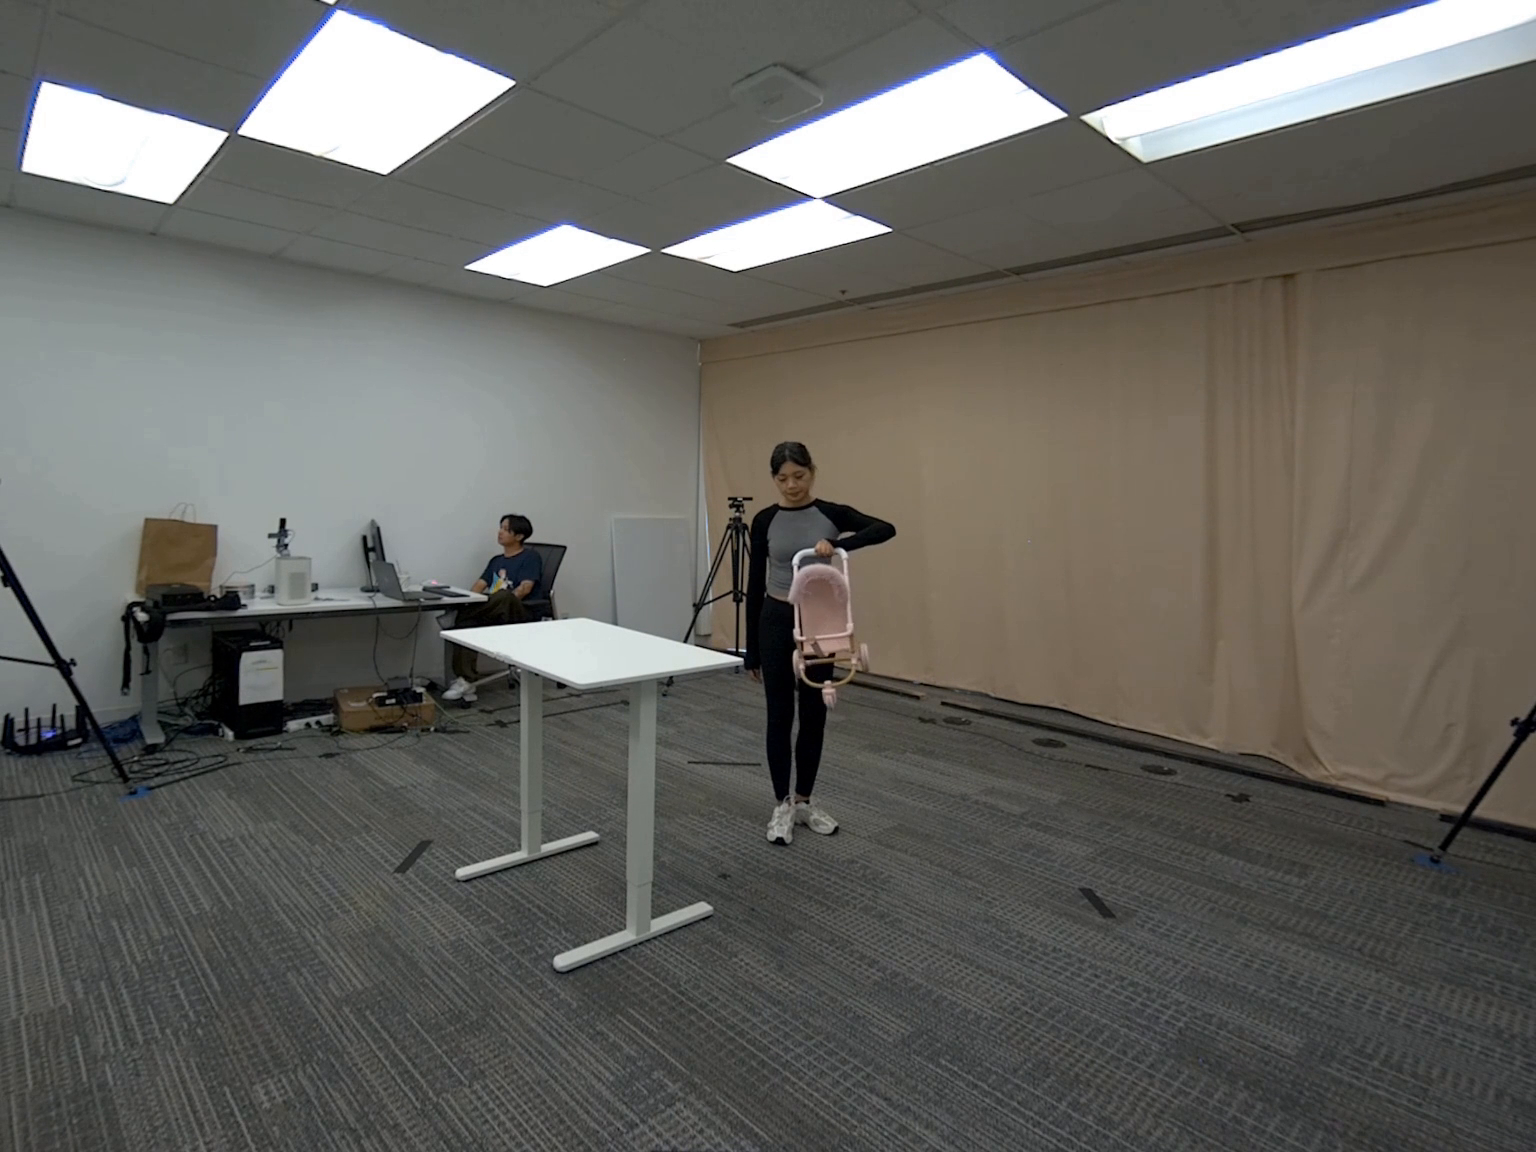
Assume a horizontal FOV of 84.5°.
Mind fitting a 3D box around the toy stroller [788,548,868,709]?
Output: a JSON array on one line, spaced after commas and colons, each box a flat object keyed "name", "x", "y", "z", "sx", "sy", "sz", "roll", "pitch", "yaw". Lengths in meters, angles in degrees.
[{"name": "toy stroller", "x": 0.195, "y": 0.186, "z": 3.038, "sx": 0.284, "sy": 0.532, "sz": 0.340, "roll": -5, "pitch": 7, "yaw": 11}]
